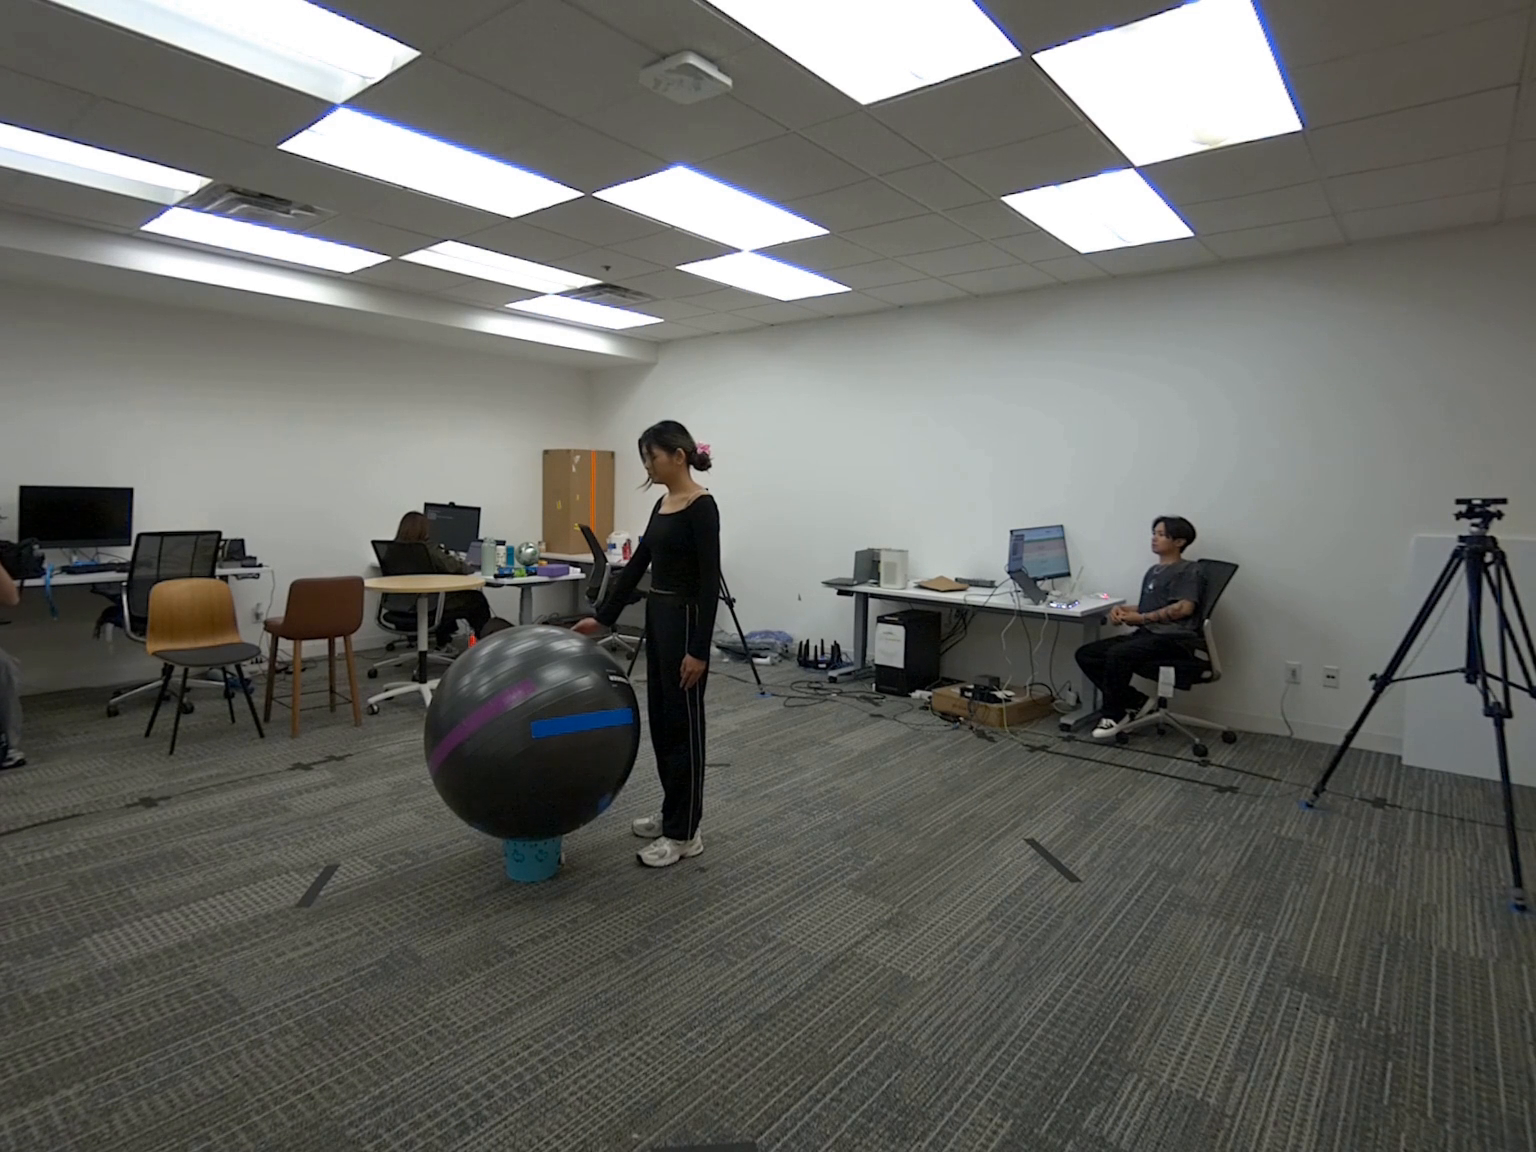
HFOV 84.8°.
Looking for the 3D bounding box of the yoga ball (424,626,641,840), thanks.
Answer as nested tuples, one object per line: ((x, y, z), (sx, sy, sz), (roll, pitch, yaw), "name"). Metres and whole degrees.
((-0.861, 0.558, 3.050), (0.757, 0.756, 0.762), (1, 4, -2), "yoga ball")
